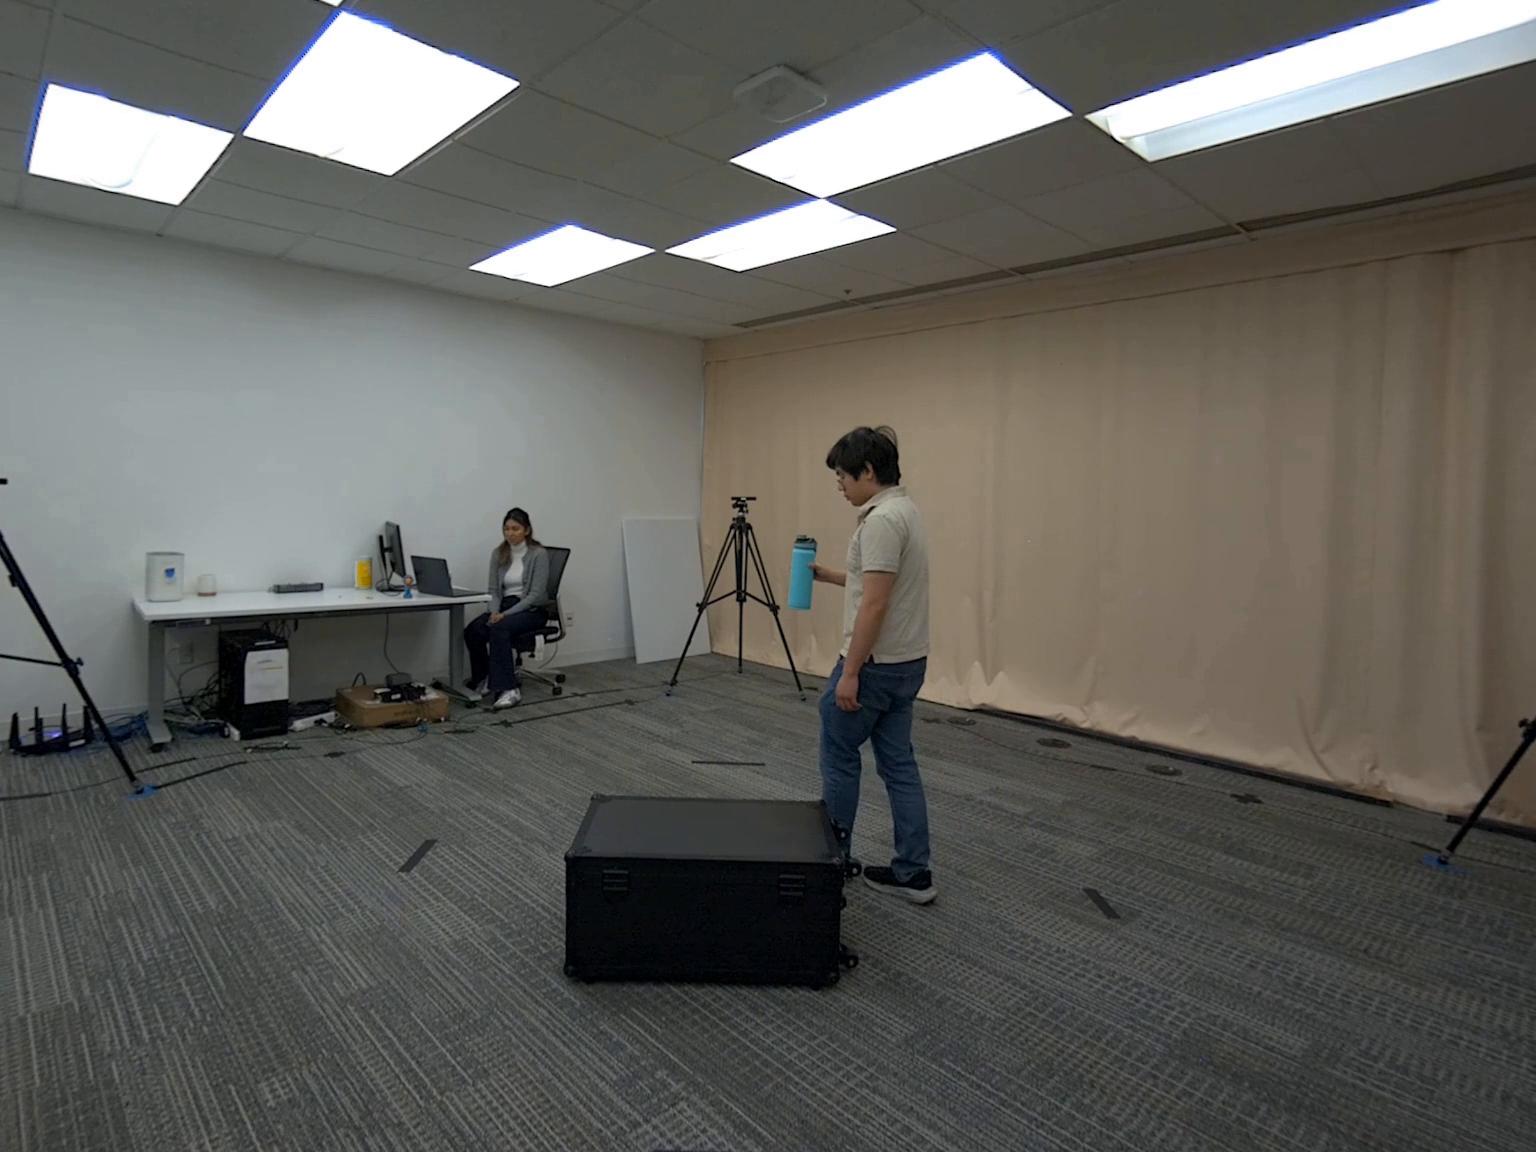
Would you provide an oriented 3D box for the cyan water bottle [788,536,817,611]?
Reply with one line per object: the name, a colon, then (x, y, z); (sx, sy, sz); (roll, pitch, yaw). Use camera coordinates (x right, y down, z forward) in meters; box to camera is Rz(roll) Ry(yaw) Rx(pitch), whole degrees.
cyan water bottle: (0.123, -0.021, 3.211); (0.092, 0.283, 0.092); (5, 0, -1)
